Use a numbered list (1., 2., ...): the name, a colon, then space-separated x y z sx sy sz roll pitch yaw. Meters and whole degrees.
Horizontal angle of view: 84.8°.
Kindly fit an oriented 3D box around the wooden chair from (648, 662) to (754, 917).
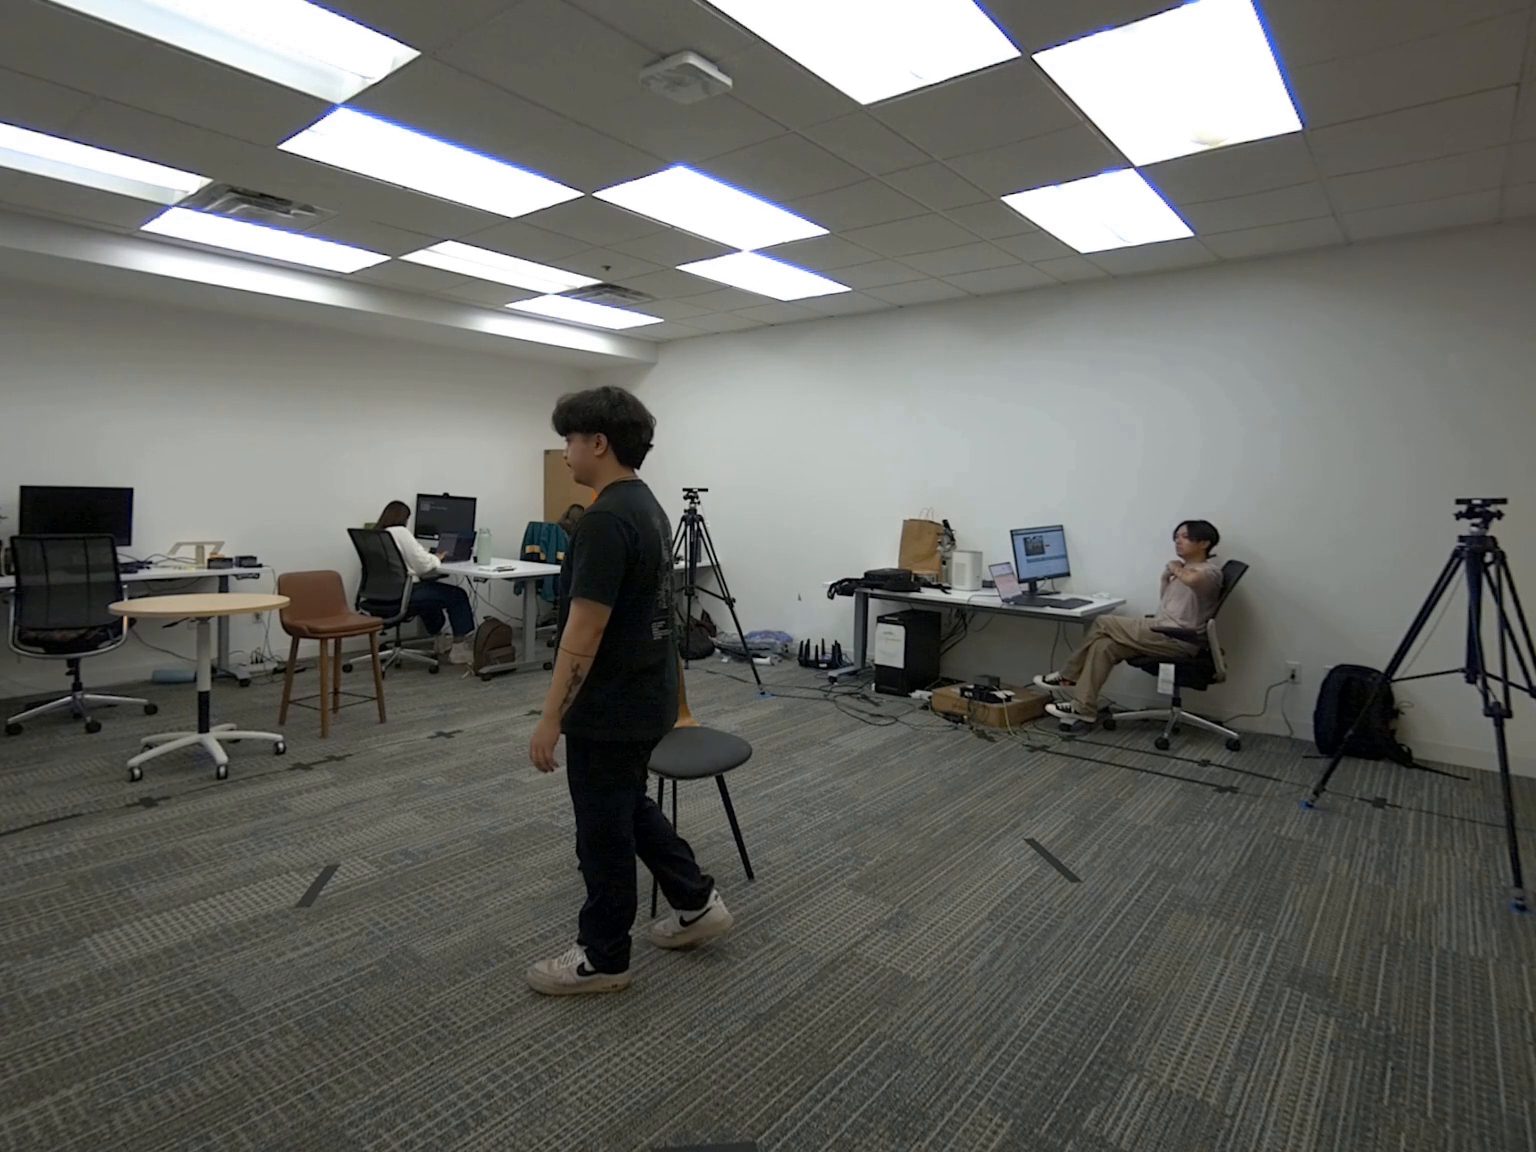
1. wooden chair: -0.359 0.647 3.025 0.463 0.878 0.539 -1 -1 -44
